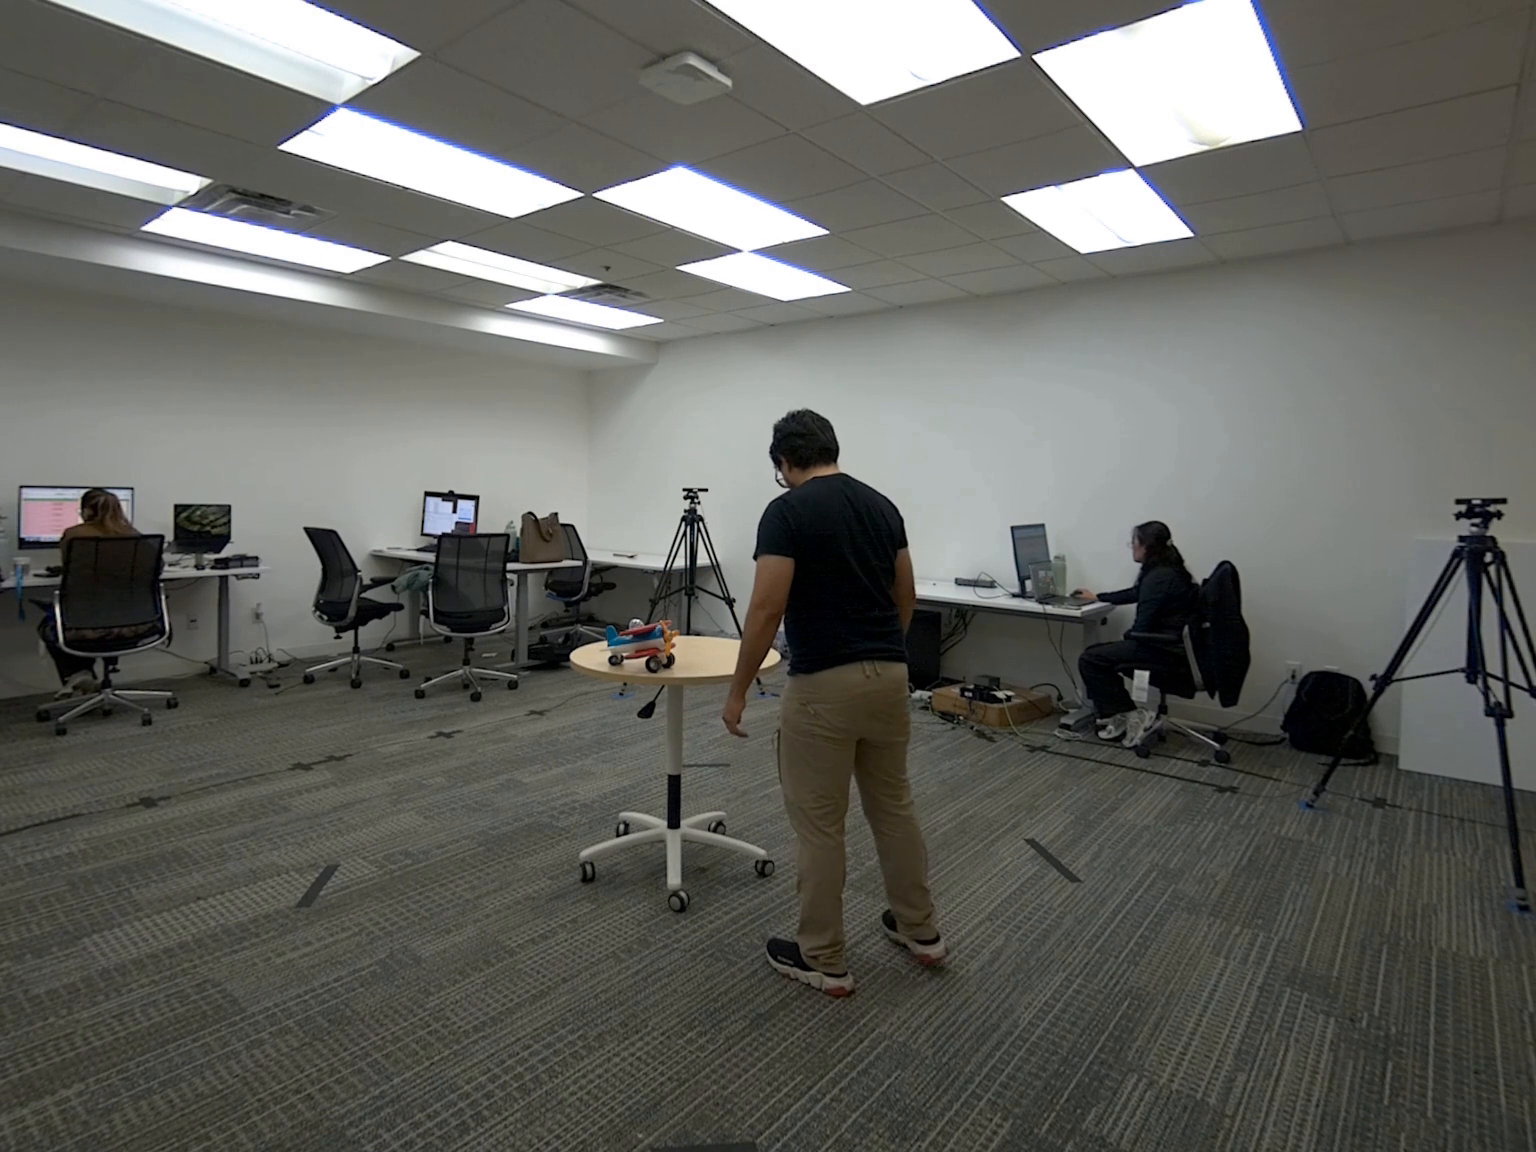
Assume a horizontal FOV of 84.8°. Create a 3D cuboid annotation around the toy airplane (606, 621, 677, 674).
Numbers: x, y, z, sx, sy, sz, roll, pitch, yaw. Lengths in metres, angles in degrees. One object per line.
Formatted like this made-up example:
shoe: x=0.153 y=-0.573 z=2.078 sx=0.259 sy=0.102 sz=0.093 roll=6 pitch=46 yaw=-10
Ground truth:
toy airplane: x=-0.449 y=0.233 z=2.848 sx=0.258 sy=0.156 sz=0.253 roll=1 pitch=4 yaw=-3
